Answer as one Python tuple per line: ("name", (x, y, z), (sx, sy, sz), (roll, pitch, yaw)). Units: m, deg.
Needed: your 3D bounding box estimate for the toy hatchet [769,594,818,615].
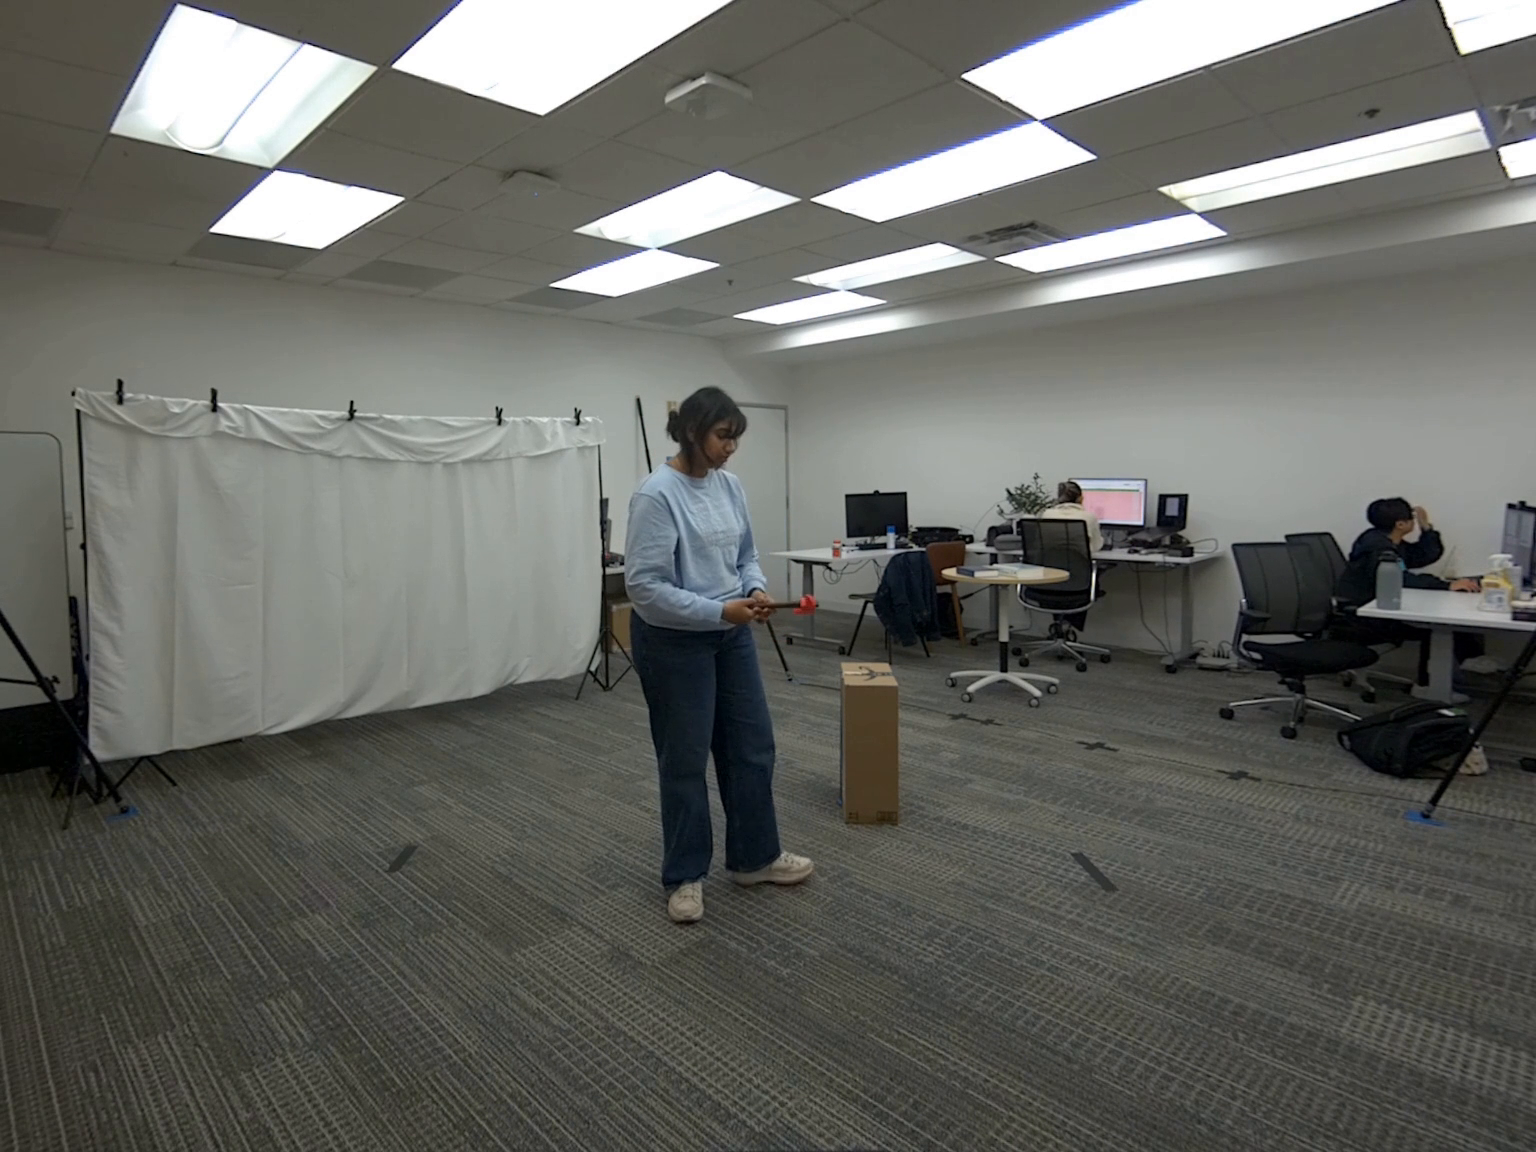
("toy hatchet", (0.023, 0.102, 2.618), (0.275, 0.030, 0.126), (-9, -27, 24))
